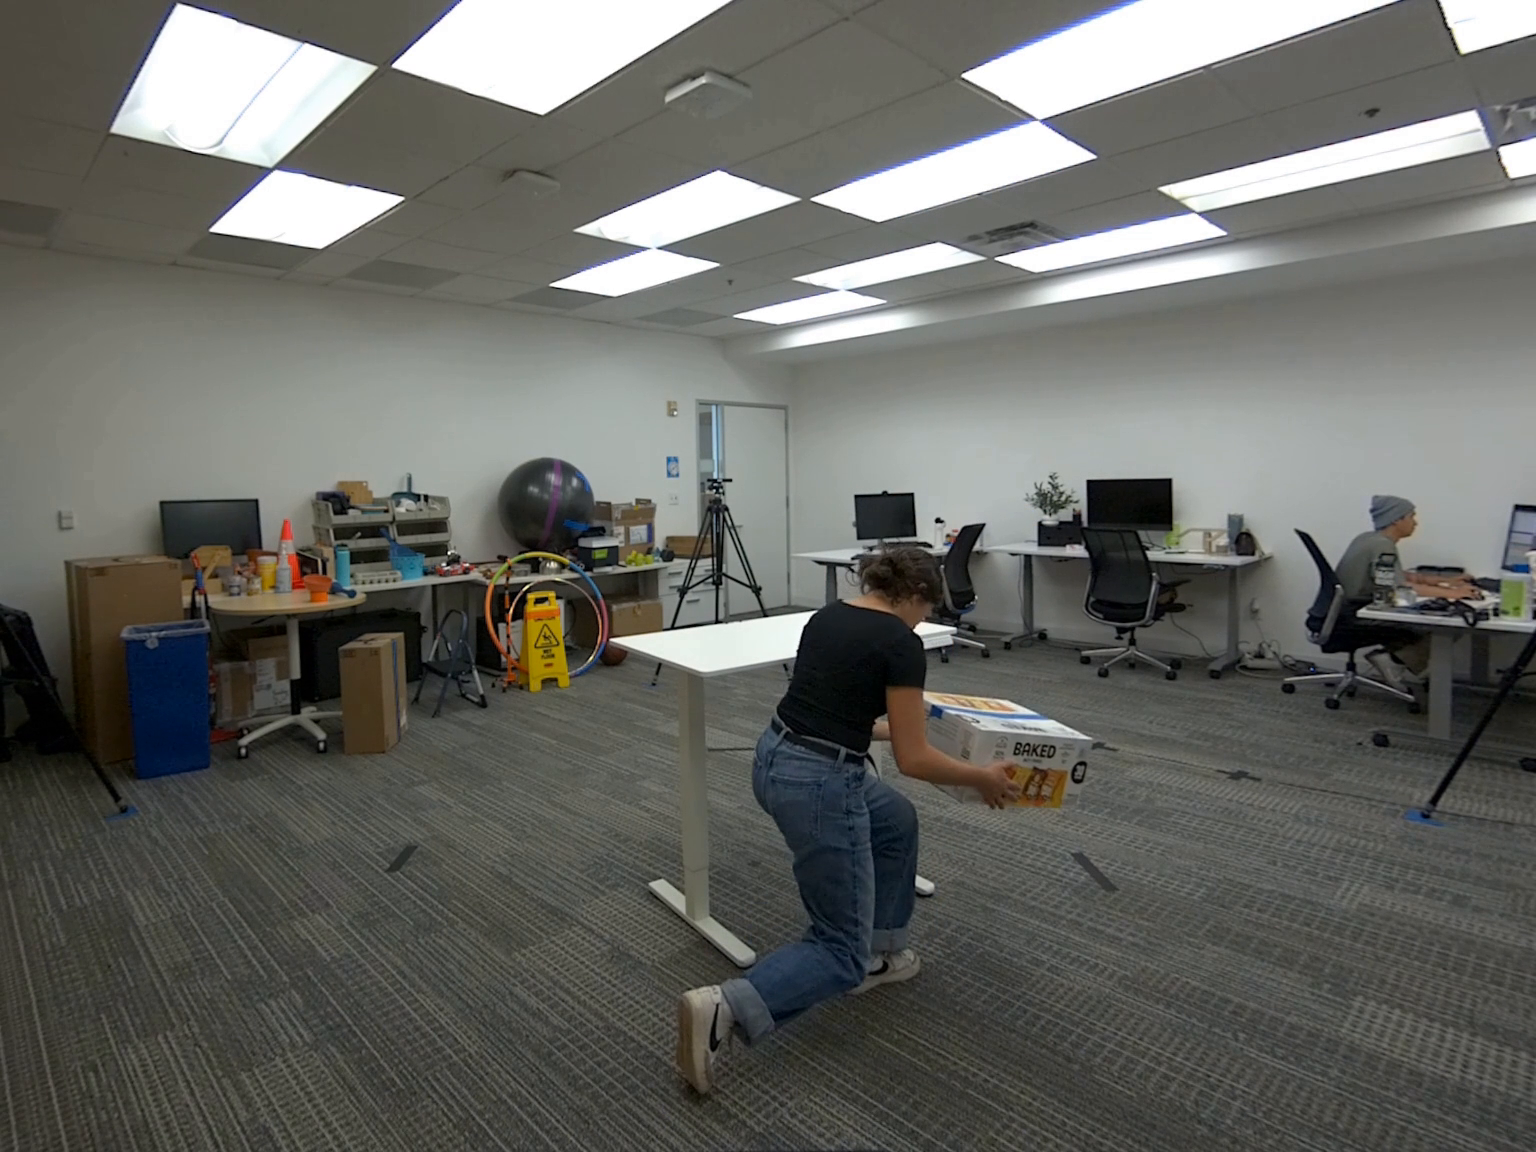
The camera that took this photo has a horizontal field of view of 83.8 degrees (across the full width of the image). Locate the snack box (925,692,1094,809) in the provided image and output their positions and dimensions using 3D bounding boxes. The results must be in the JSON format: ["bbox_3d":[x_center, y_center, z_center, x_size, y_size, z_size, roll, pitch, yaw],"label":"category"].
[{"bbox_3d":[0.631,0.479,2.403,0.394,0.205,0.350,9,3,-27],"label":"snack box"}]
